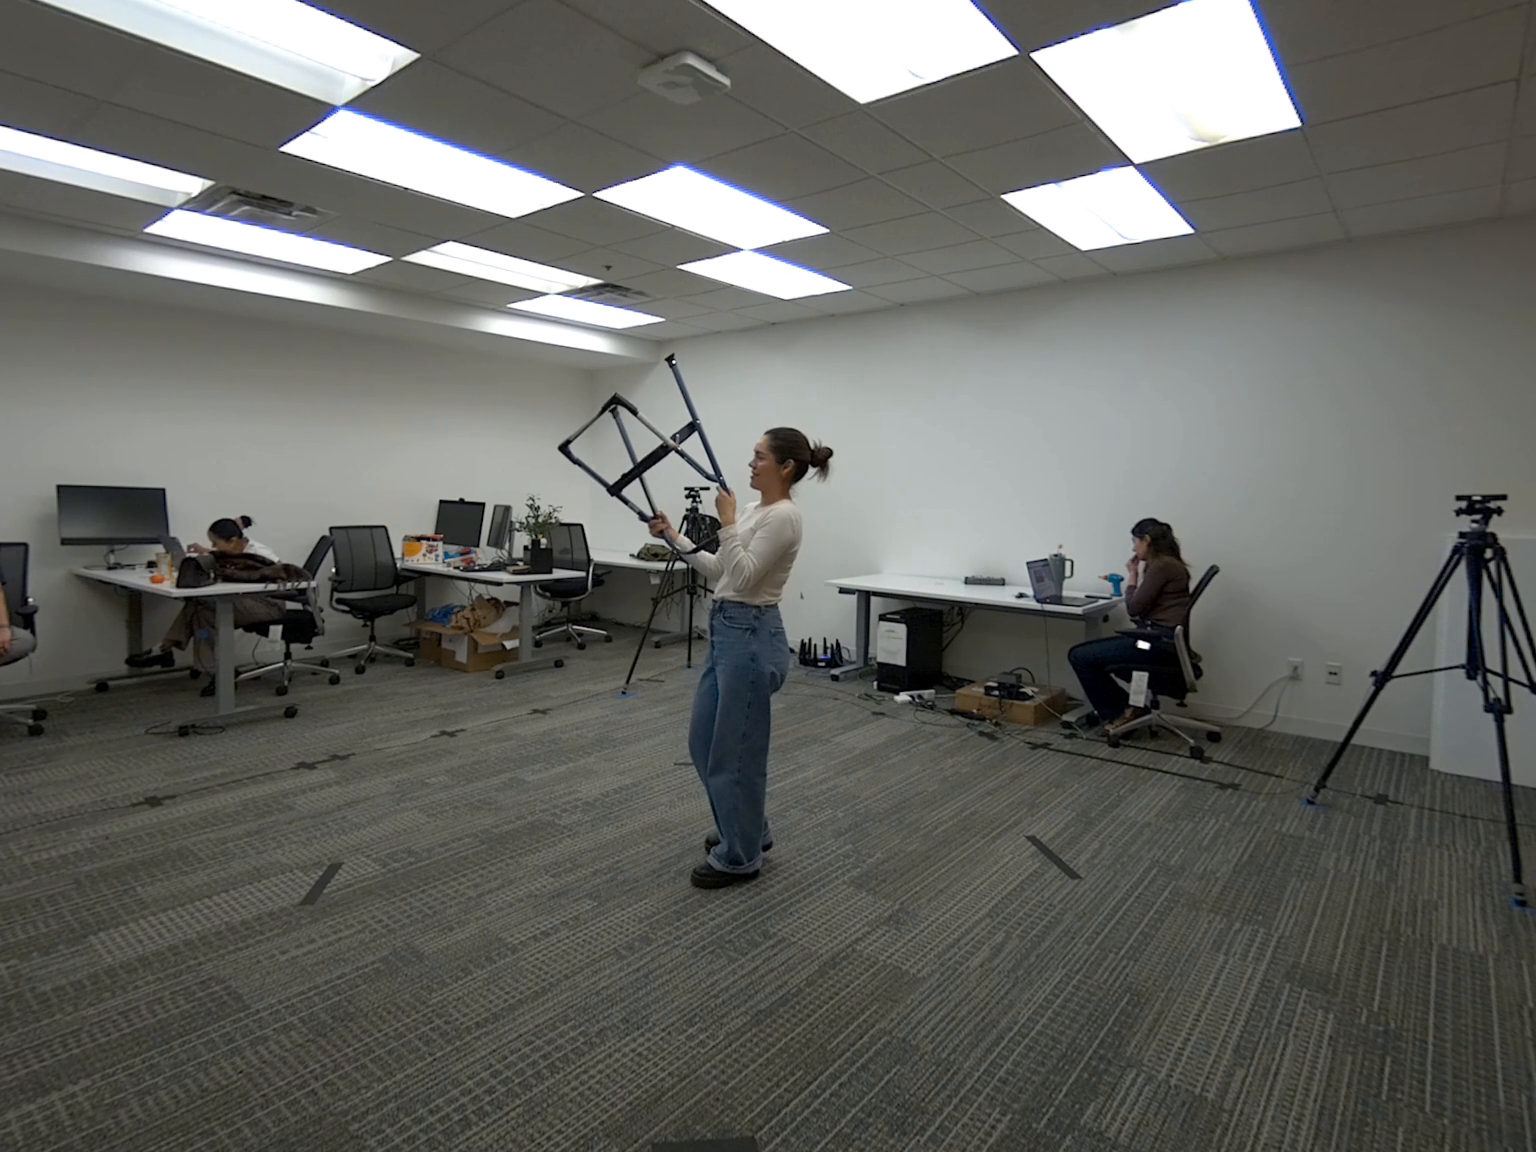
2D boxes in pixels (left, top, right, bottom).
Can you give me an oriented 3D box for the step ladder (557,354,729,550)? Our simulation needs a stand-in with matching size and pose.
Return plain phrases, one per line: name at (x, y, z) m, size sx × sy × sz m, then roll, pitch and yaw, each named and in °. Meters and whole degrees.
step ladder at (-0.373, -0.389, 3.025) m, size 0.436 × 0.600 × 0.348 m, roll -29°, pitch 12°, yaw 47°
